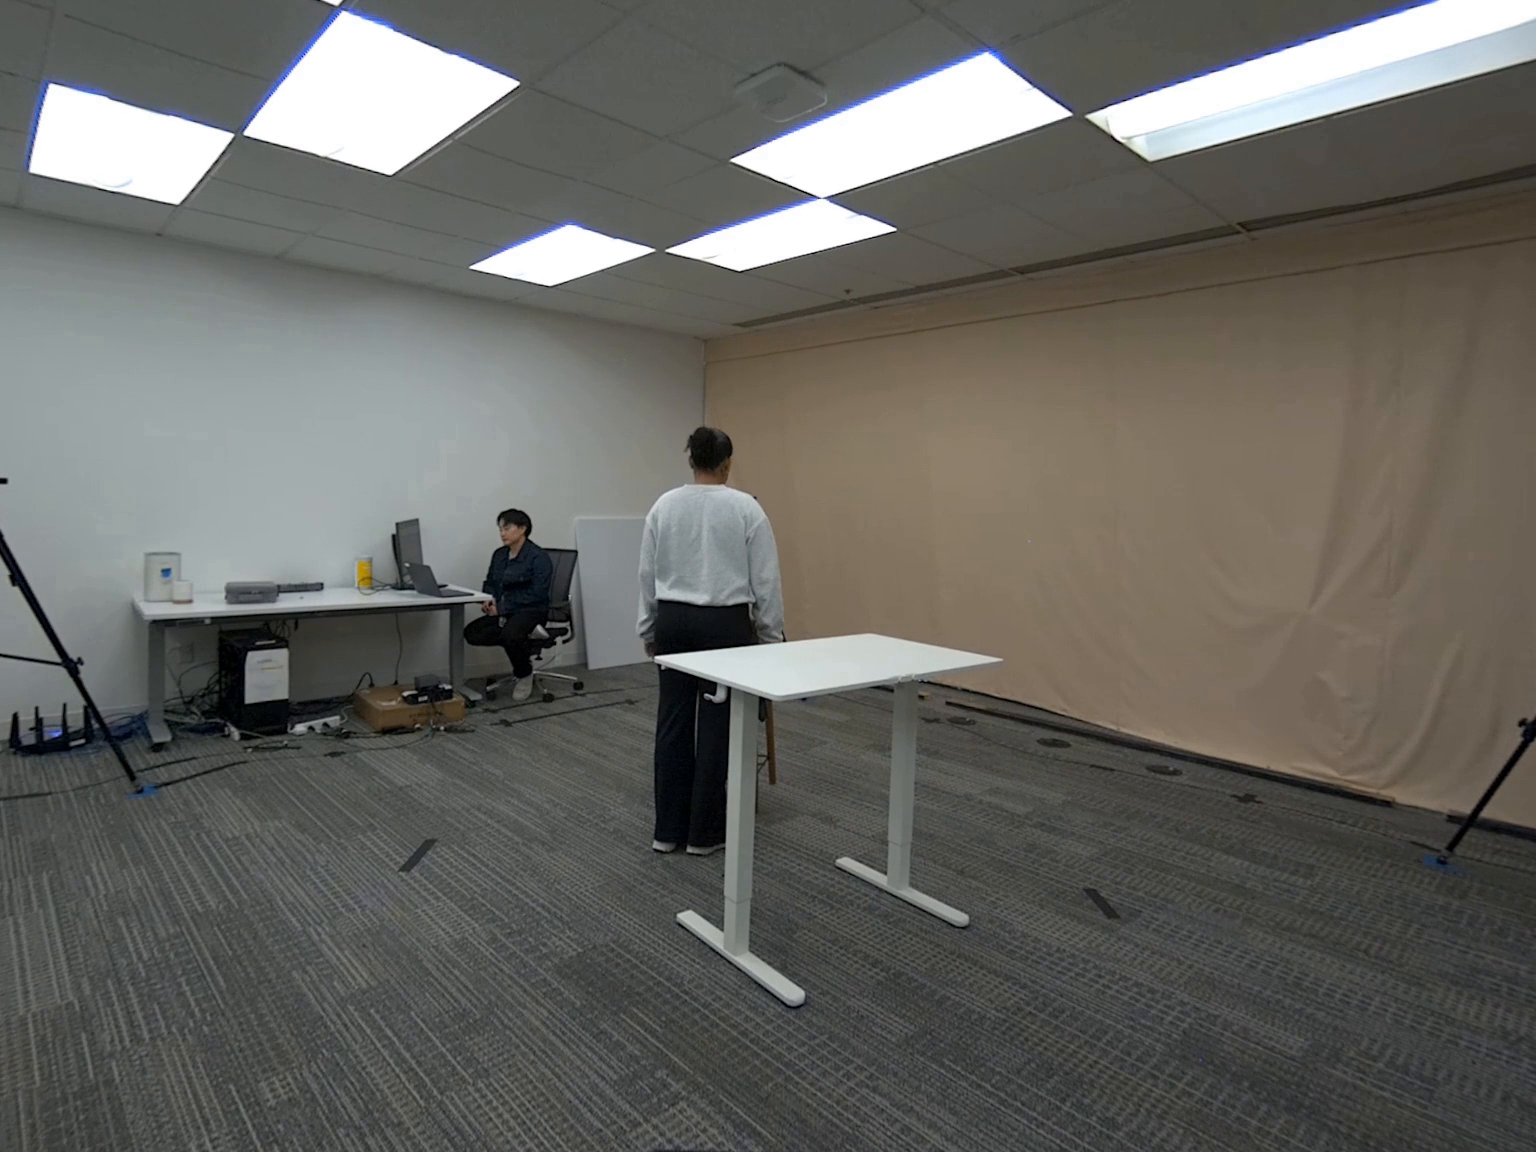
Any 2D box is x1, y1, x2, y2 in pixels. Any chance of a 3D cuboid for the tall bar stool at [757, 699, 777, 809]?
[{"bbox_3d":[-0.193,0.595,3.950,0.461,0.887,0.465,2,5,11],"label":"tall bar stool"}]
